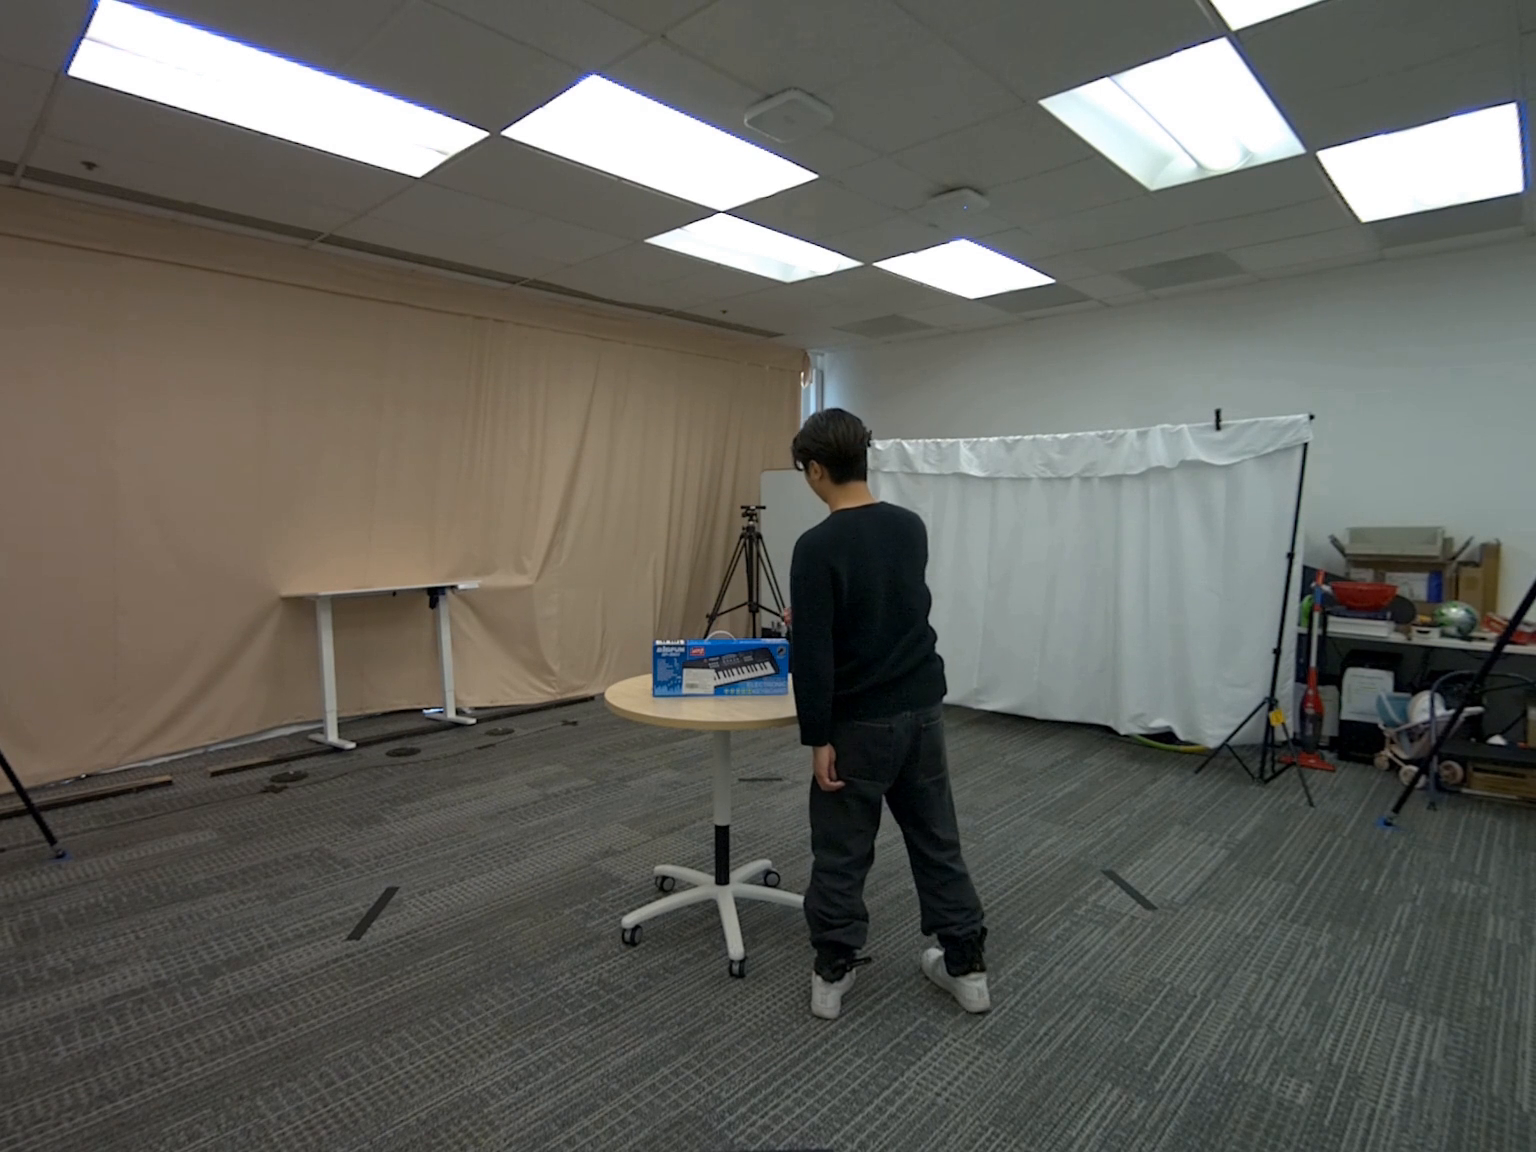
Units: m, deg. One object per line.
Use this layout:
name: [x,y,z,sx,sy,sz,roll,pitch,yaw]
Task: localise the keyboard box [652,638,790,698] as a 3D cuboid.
keyboard box: [-0.154,0.298,2.708,0.434,0.175,0.060,0,8,-5]
